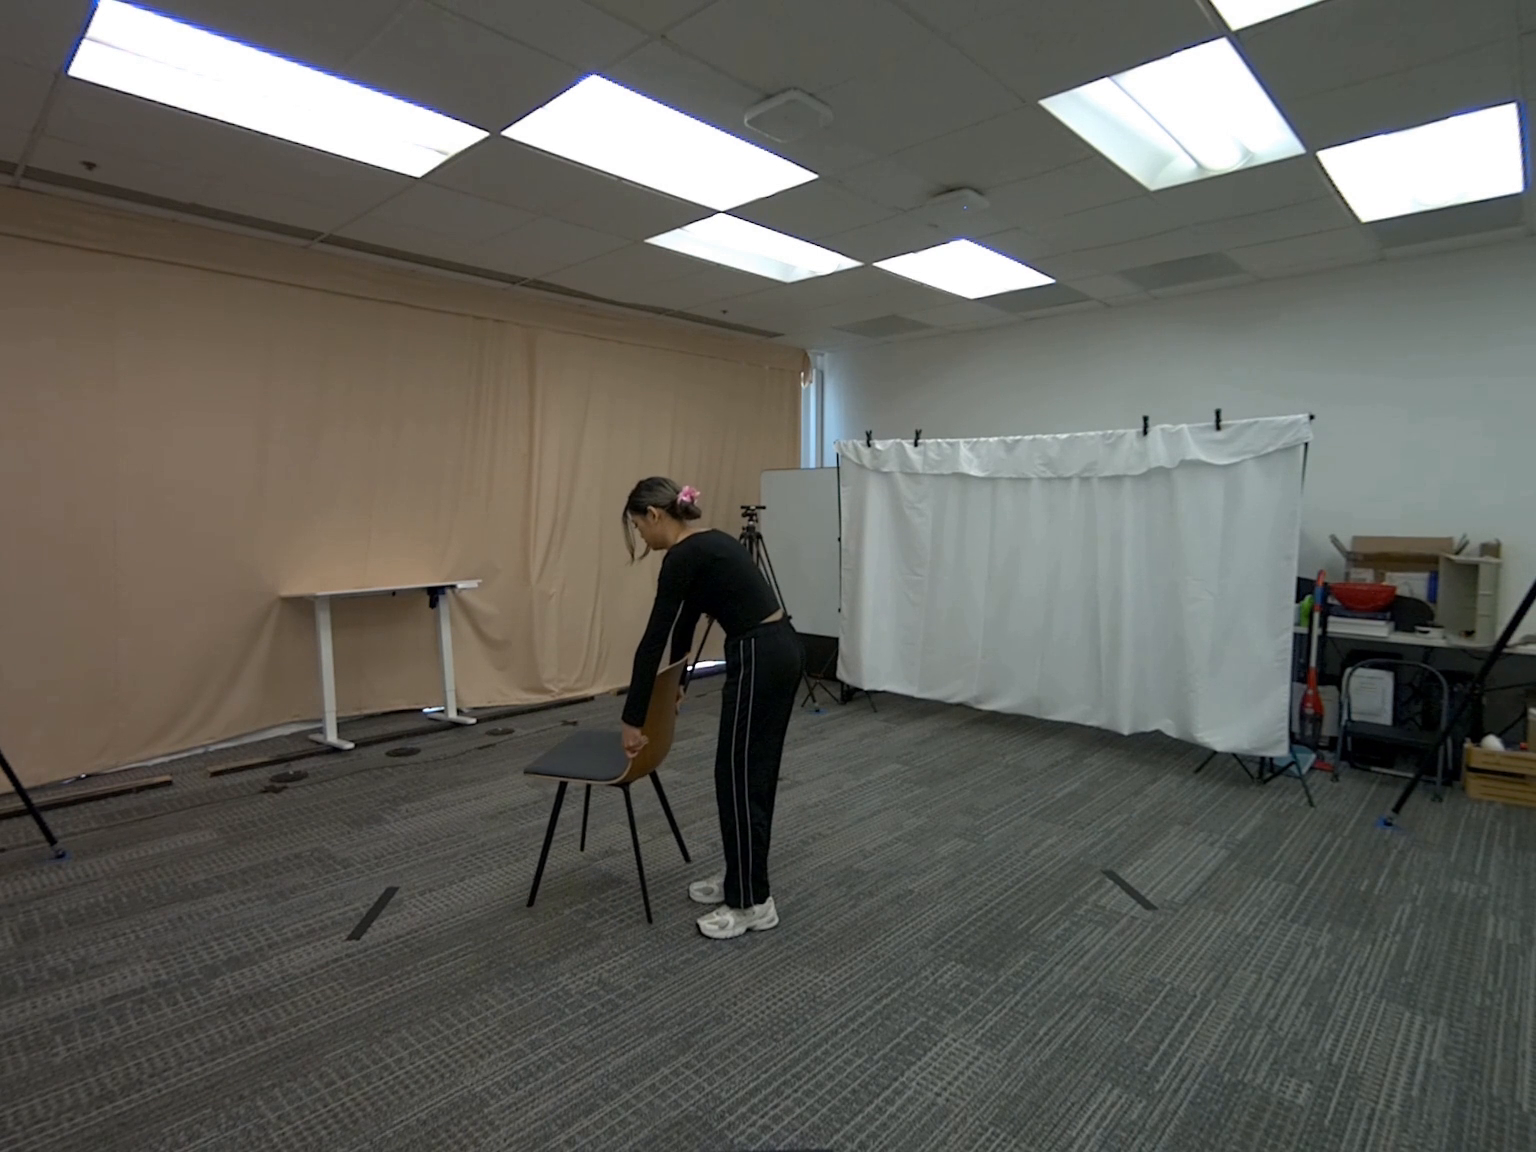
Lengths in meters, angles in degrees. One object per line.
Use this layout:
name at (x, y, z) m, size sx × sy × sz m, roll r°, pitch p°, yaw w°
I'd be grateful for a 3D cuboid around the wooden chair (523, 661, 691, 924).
wooden chair at (-0.570, 0.692, 2.989) m, size 0.531 × 0.873 × 0.473 m, roll 6°, pitch 8°, yaw 13°
